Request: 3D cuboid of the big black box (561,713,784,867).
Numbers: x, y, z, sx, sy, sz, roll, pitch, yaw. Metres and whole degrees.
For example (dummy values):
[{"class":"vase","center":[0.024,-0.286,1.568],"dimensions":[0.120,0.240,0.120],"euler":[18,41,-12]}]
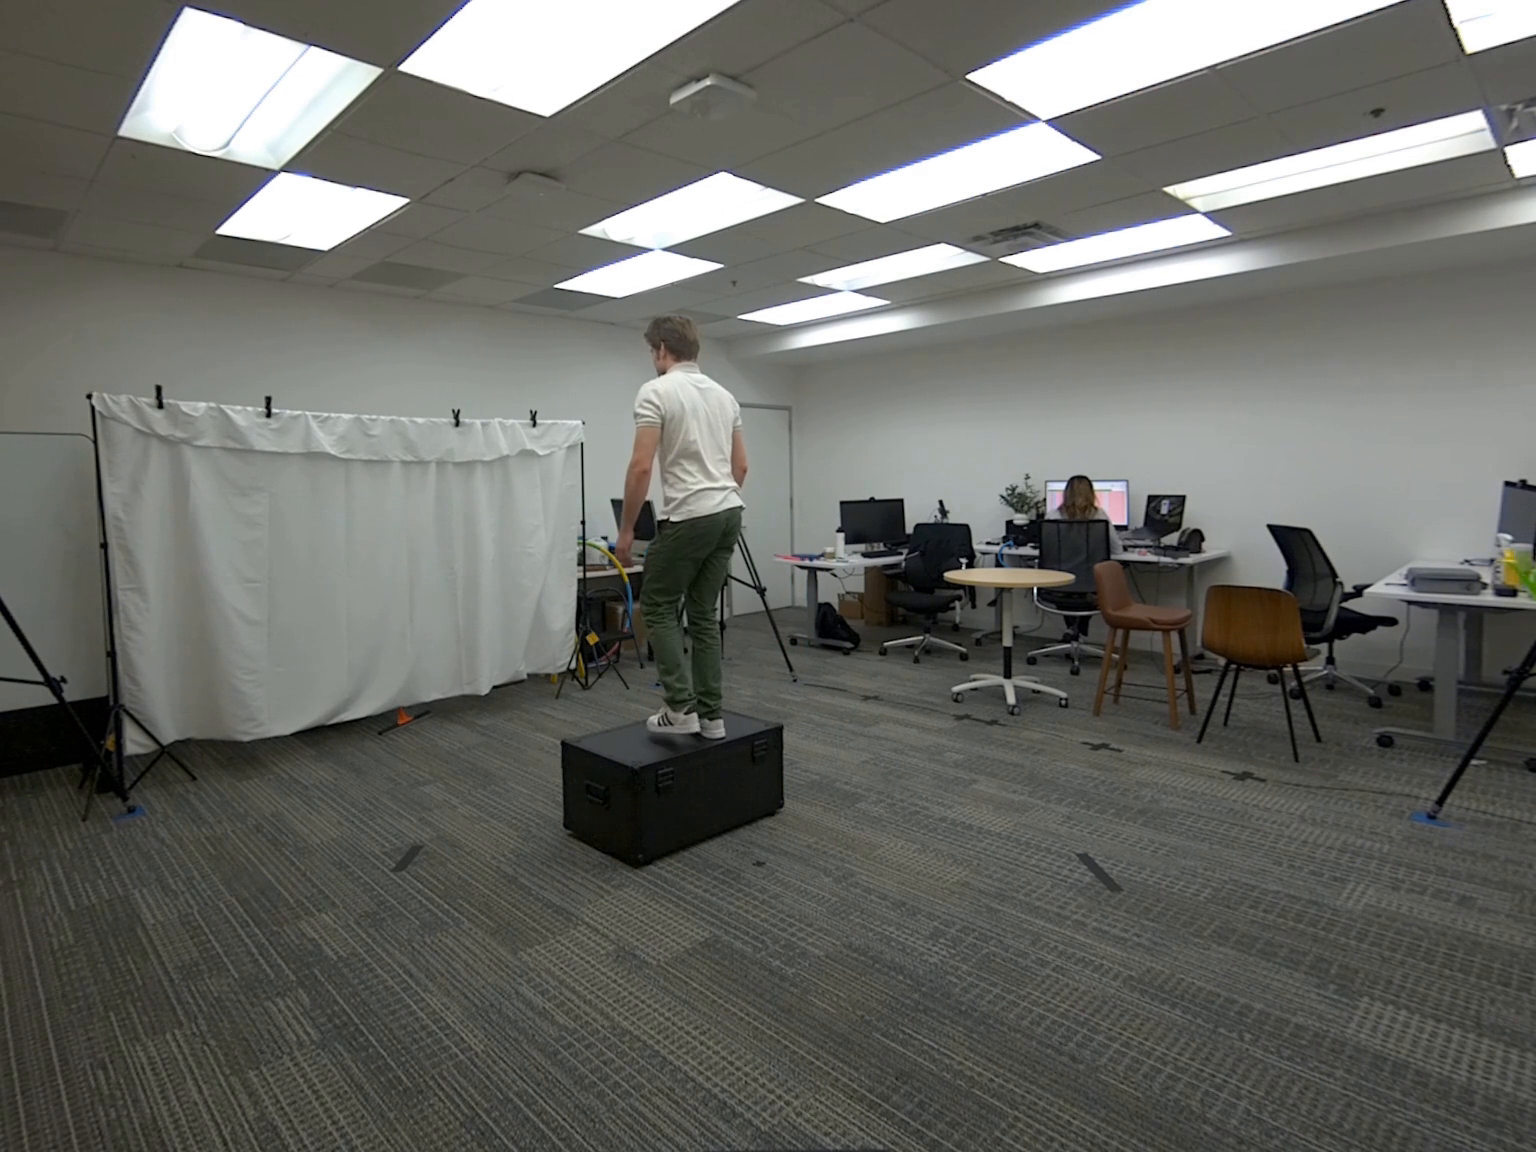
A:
[{"class":"big black box","center":[-0.345,0.817,3.507],"dimensions":[0.845,0.384,0.539],"euler":[-6,6,-44]}]
